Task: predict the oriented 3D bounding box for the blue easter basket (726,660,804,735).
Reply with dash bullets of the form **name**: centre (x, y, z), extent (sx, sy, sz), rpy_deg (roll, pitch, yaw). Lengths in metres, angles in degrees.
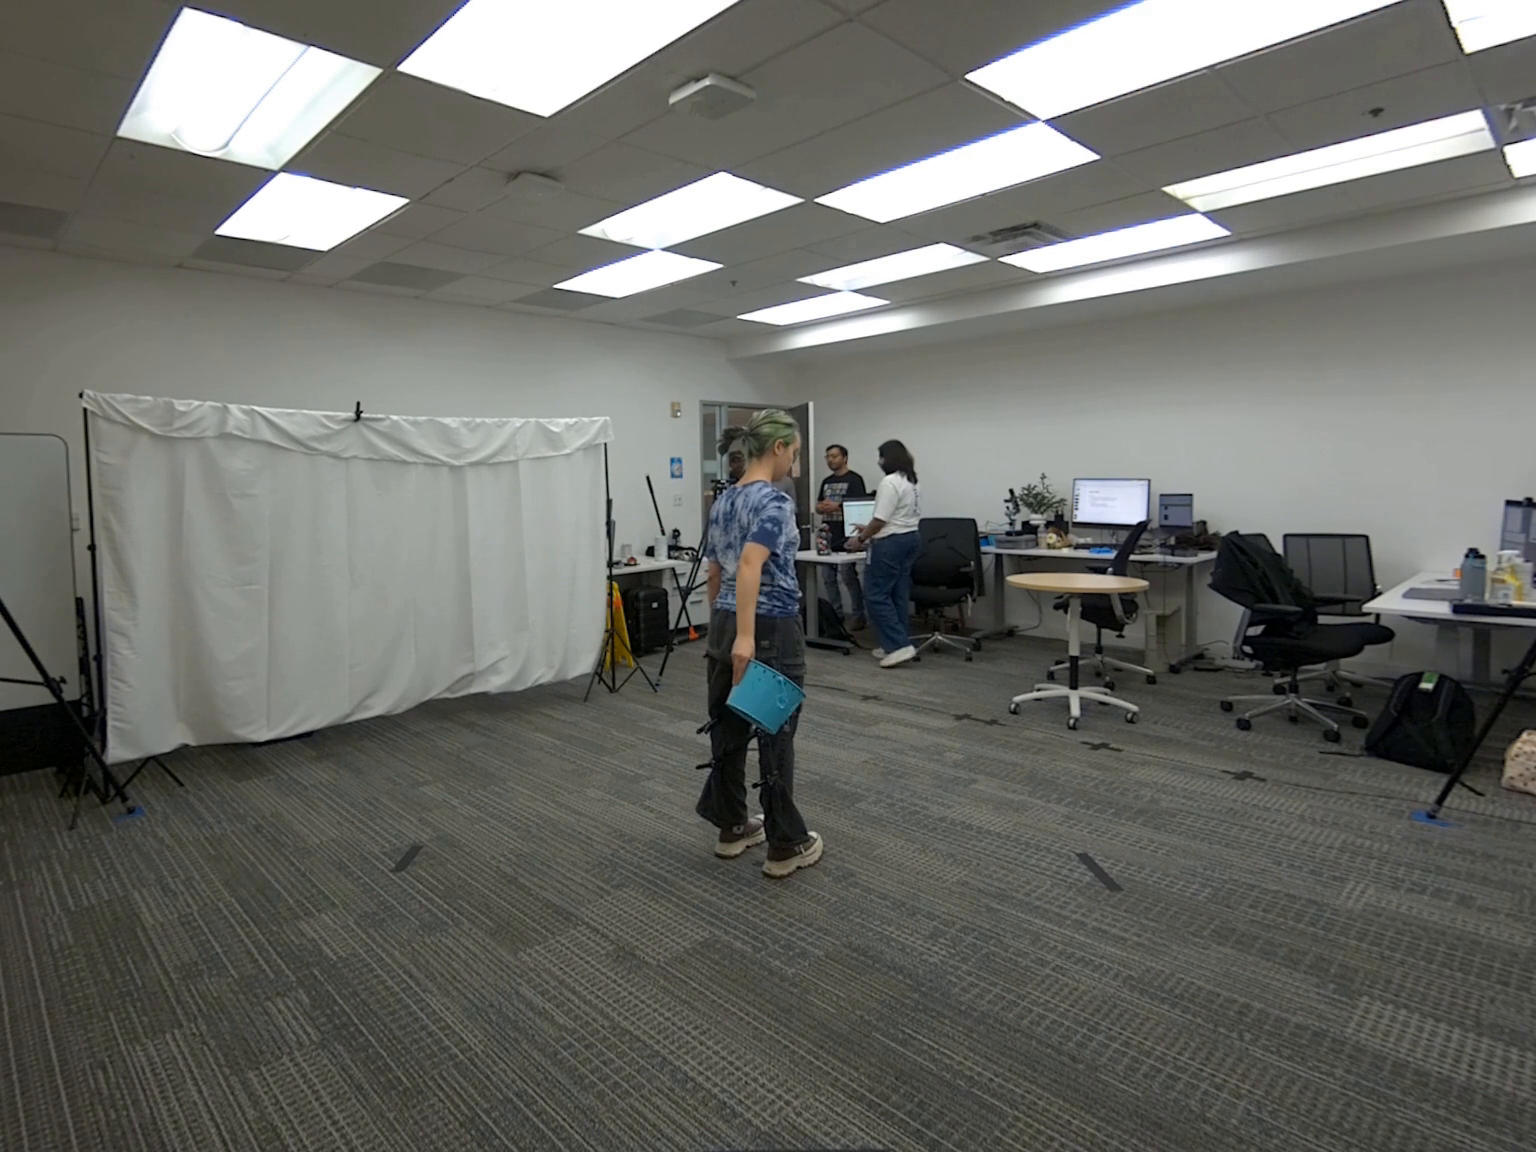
- **blue easter basket**: centre (0.002, 0.385, 2.696), extent (0.246, 0.156, 0.240), rpy_deg (29, -14, 6)
